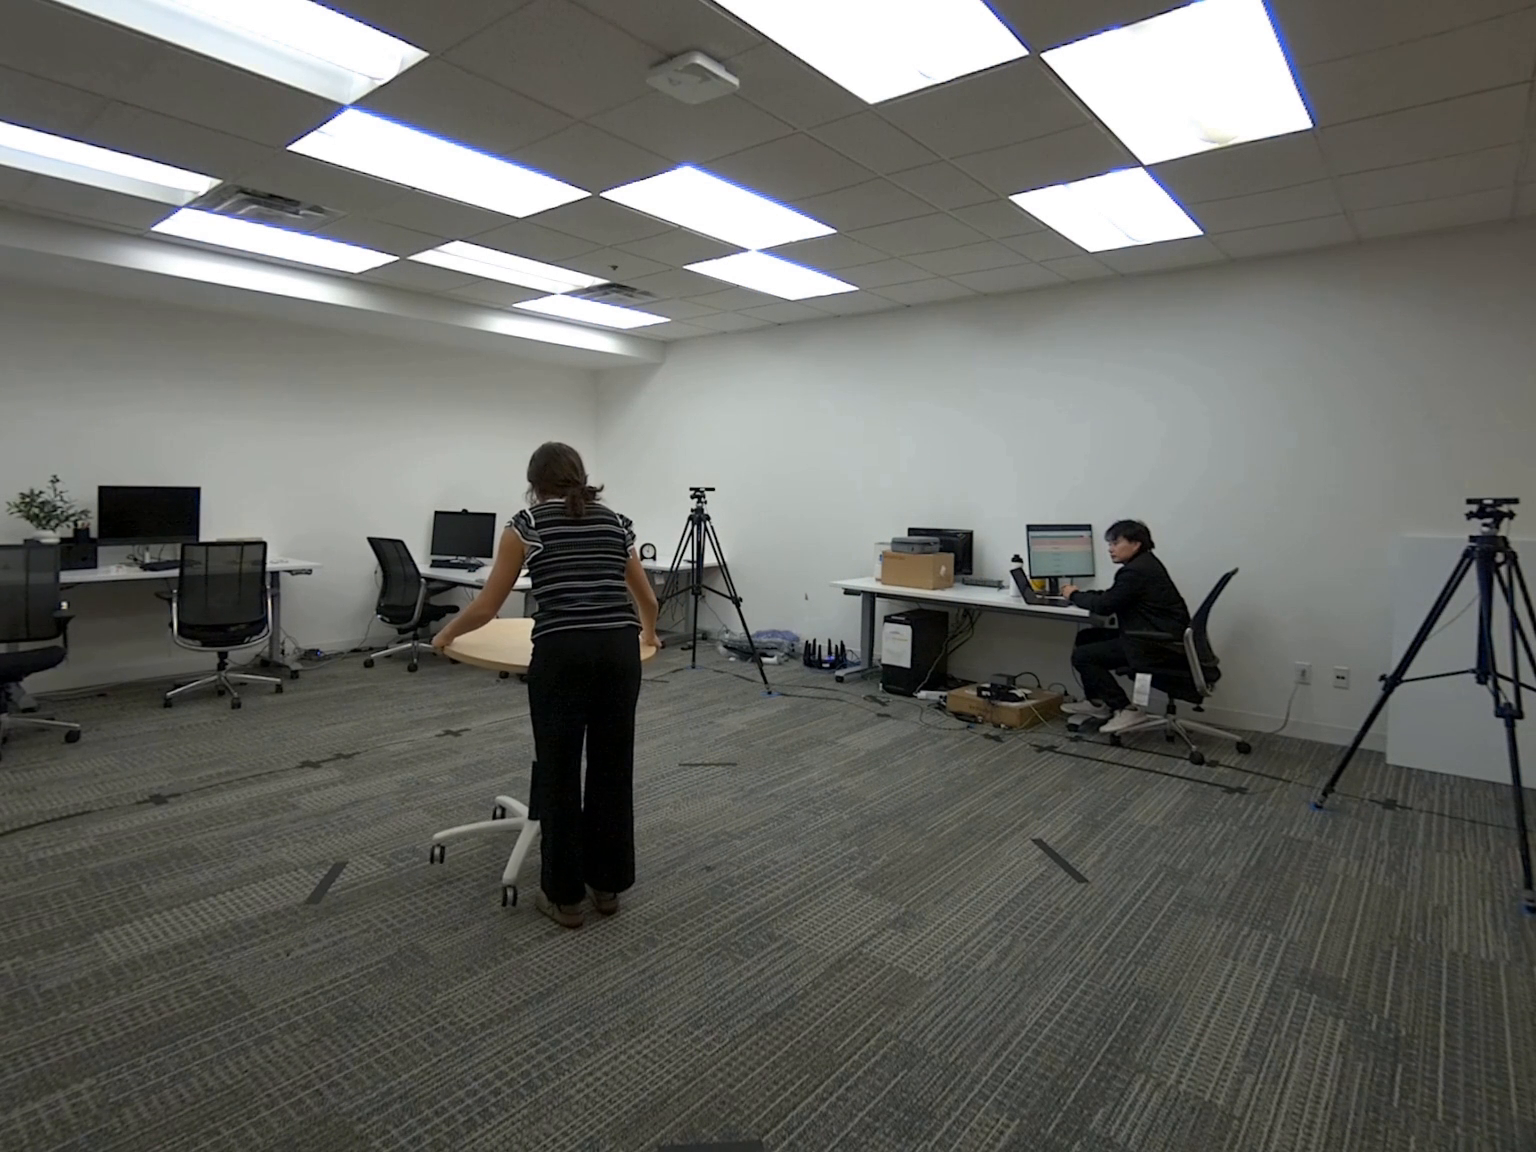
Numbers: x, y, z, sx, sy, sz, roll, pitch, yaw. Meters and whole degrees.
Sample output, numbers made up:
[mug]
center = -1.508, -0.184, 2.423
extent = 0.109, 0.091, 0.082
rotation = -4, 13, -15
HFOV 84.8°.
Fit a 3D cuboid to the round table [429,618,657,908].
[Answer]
[round table]
center = -0.835, 0.625, 3.084
extent = 0.763, 0.791, 0.769
rotation = 5, 5, -2
